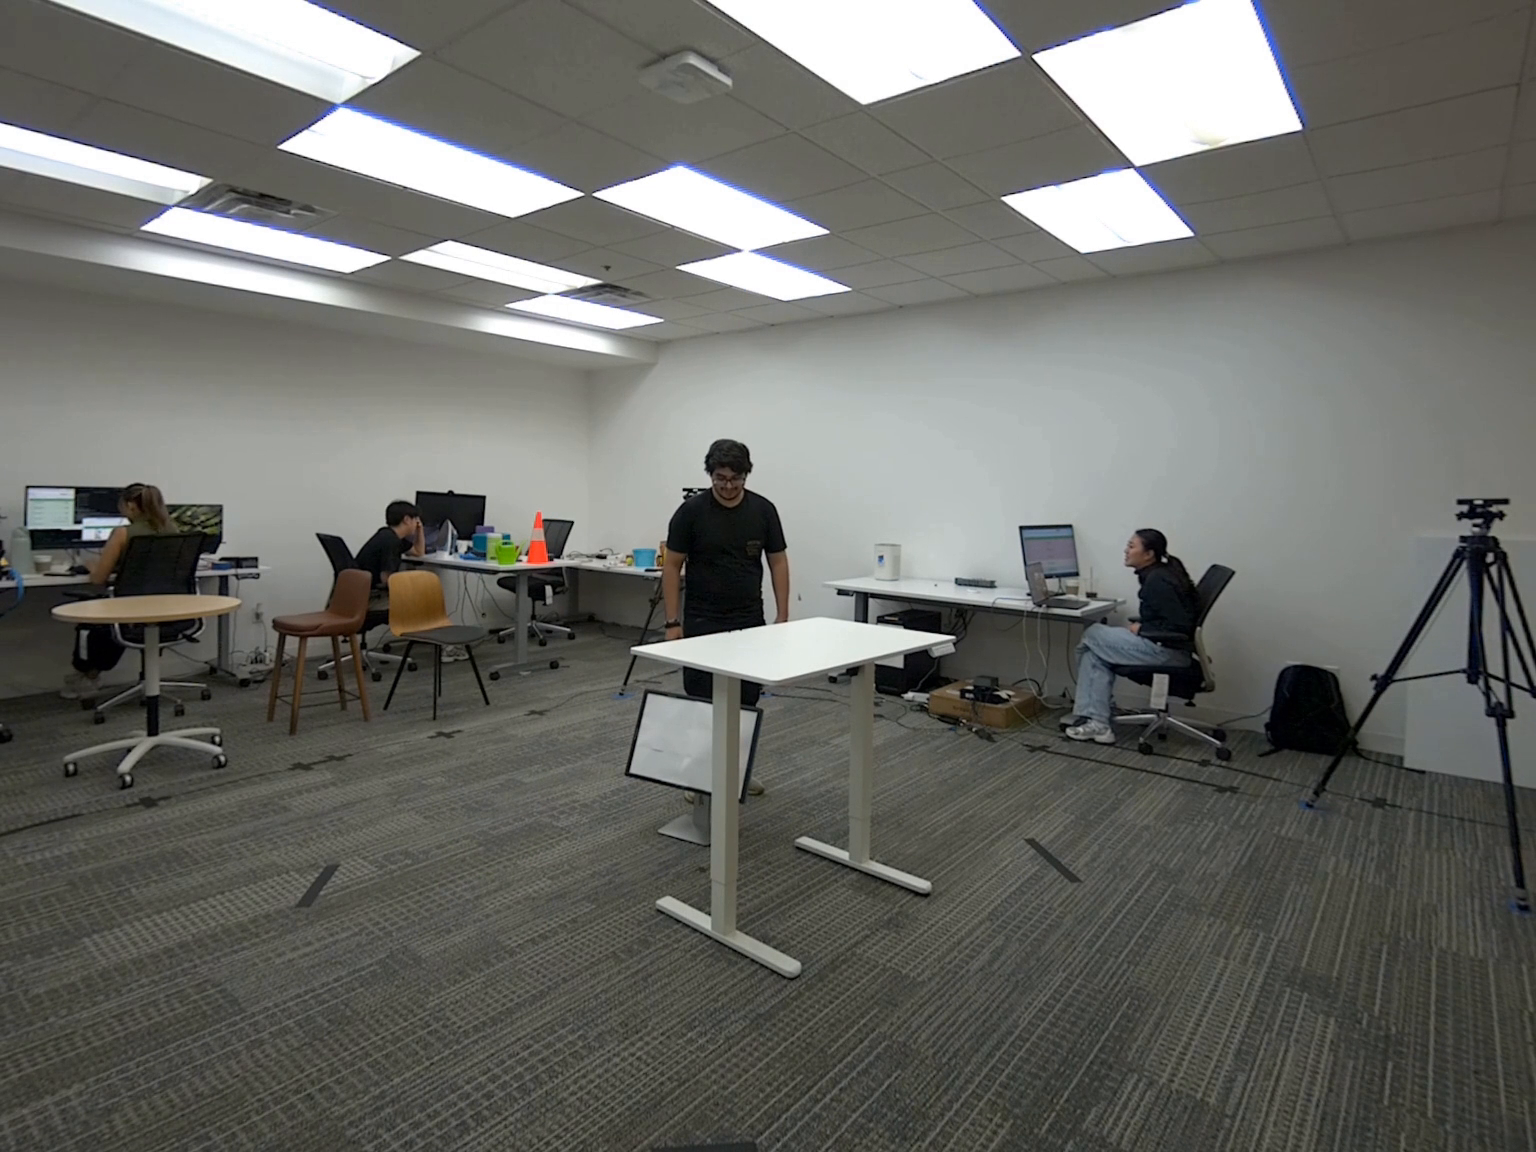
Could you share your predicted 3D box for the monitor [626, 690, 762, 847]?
[{"bbox_3d":[-0.289,0.767,3.465,0.582,0.557,0.203,3,-6,29],"label":"monitor"}]
